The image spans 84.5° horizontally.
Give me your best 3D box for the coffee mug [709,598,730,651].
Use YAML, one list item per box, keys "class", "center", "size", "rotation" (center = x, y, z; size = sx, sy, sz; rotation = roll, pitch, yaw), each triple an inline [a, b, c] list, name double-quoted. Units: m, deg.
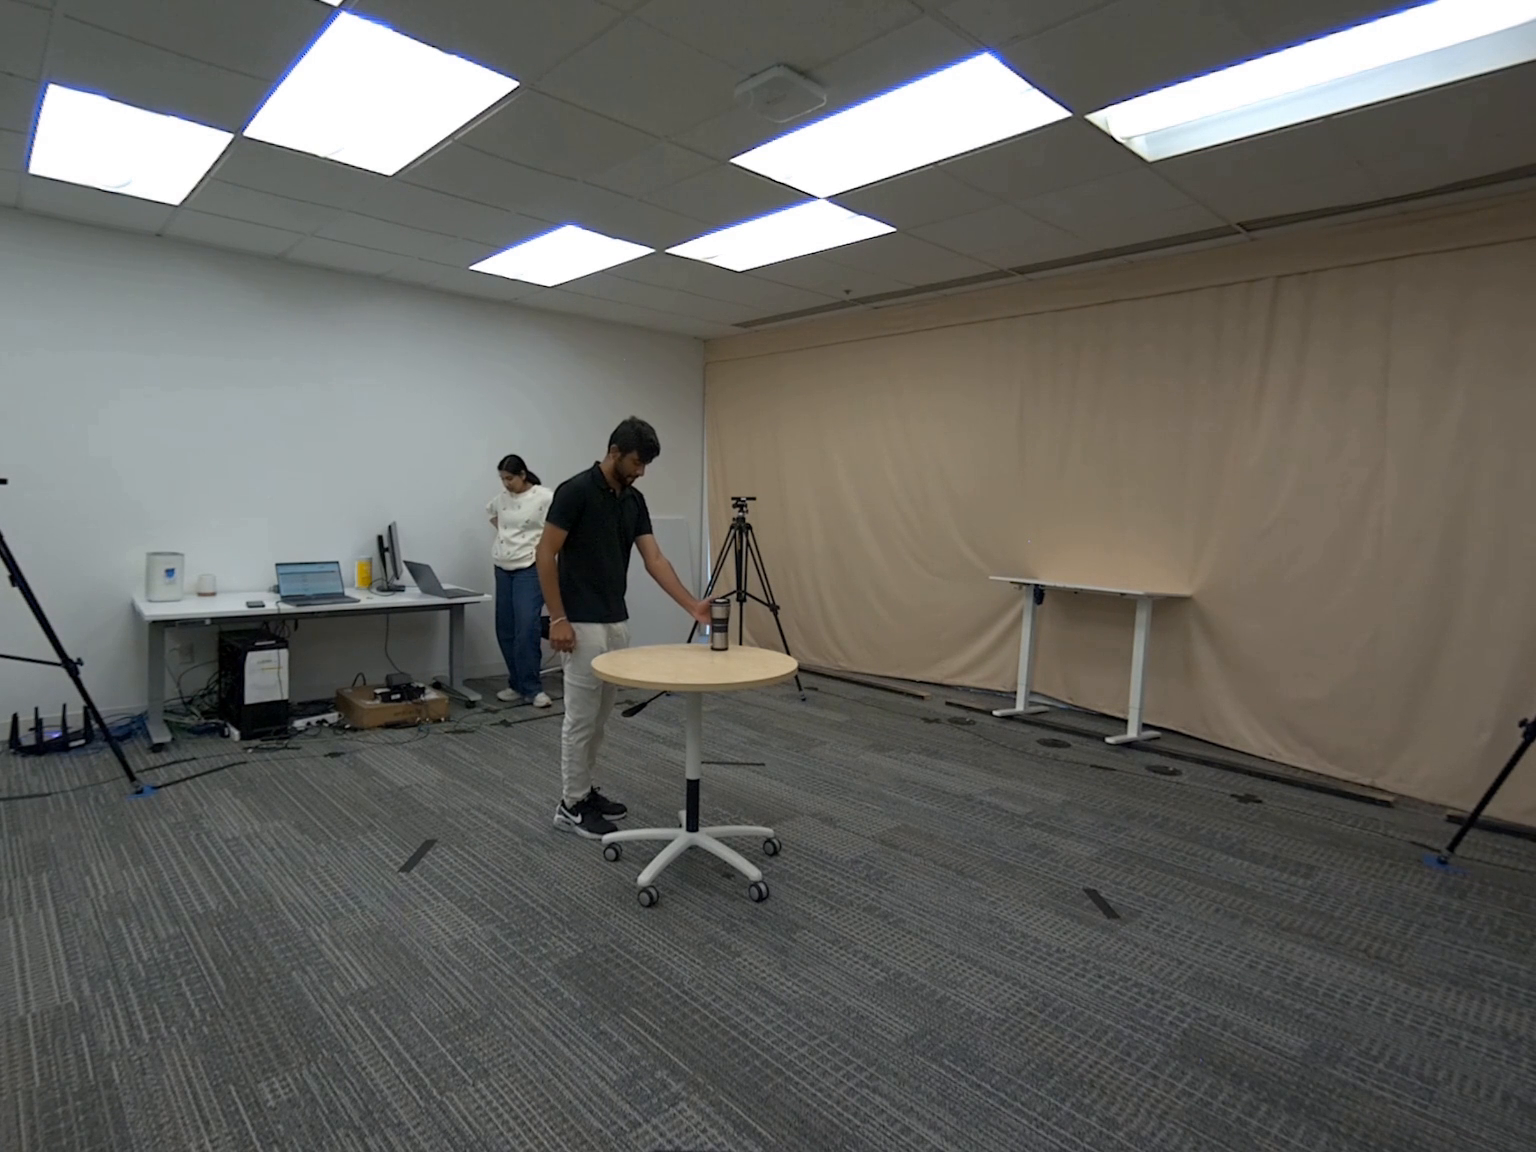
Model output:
- class: "coffee mug"
  center: [-0.193, 0.194, 3.395]
  size: [0.089, 0.201, 0.120]
  rotation: [1, 10, 26]
